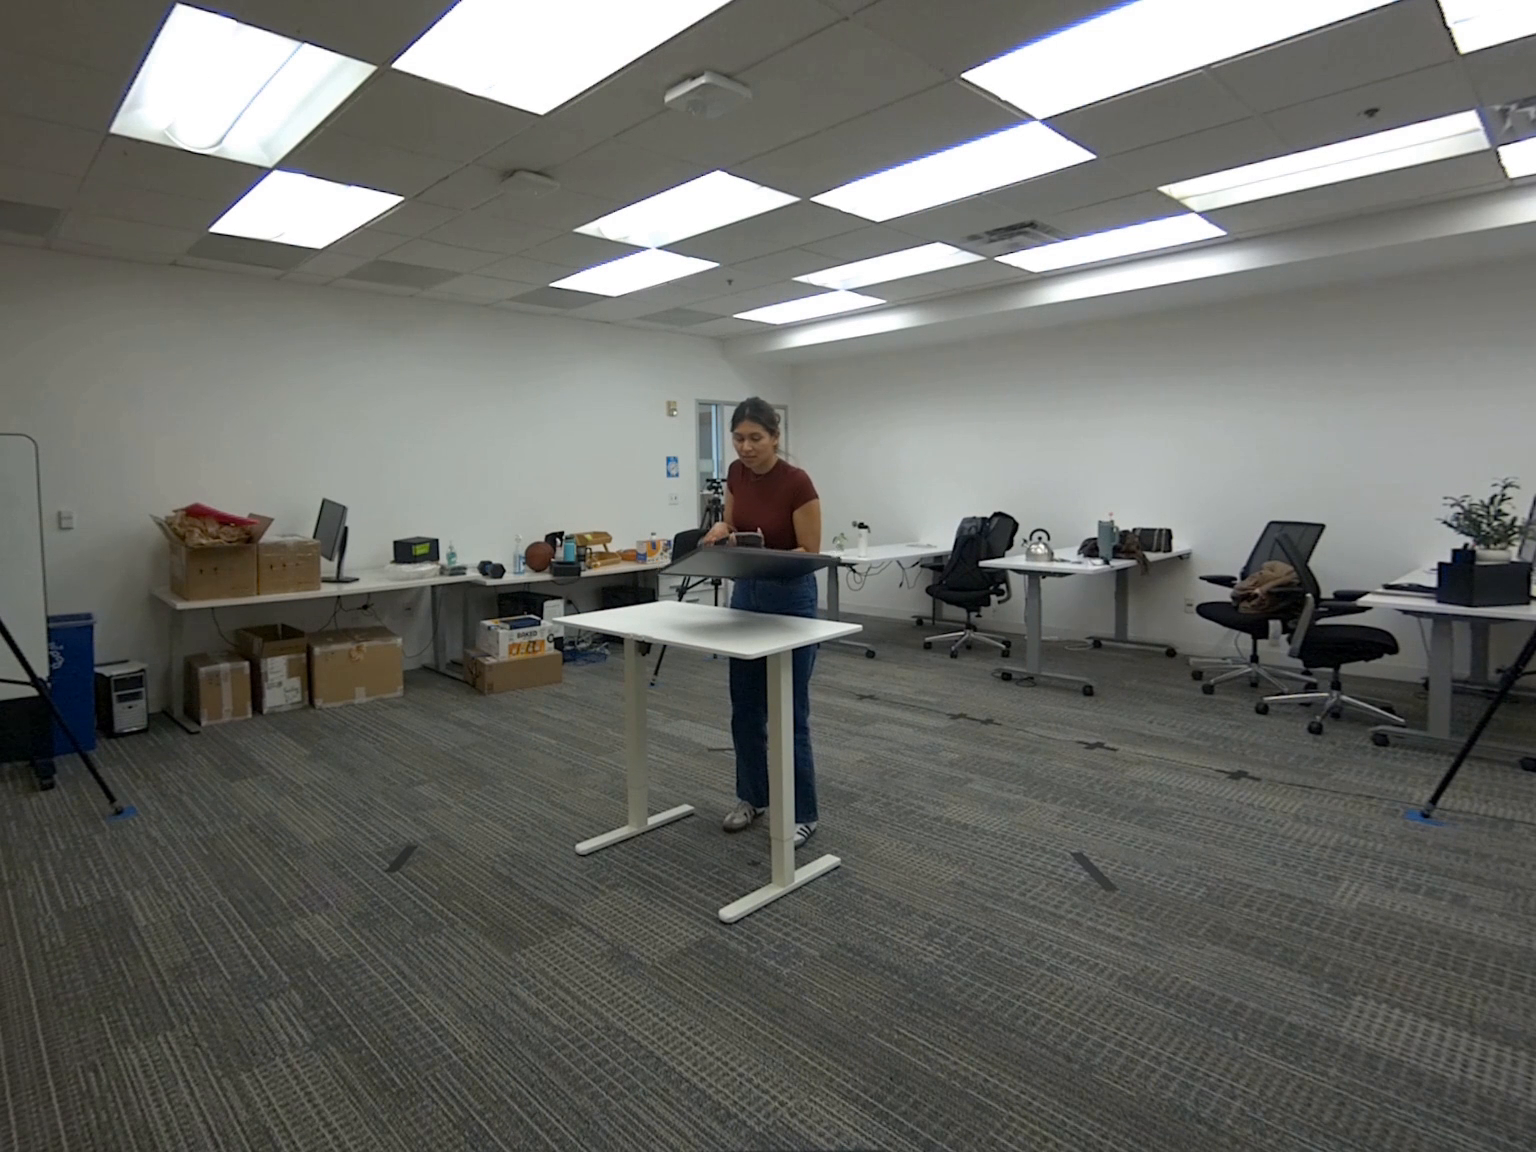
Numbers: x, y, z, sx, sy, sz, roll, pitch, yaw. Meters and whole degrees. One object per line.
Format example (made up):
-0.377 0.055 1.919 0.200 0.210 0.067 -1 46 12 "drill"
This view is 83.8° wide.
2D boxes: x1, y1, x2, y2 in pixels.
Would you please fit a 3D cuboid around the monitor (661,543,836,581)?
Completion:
-0.104 -0.071 3.024 0.525 0.187 0.536 3 1 -30 "monitor"
